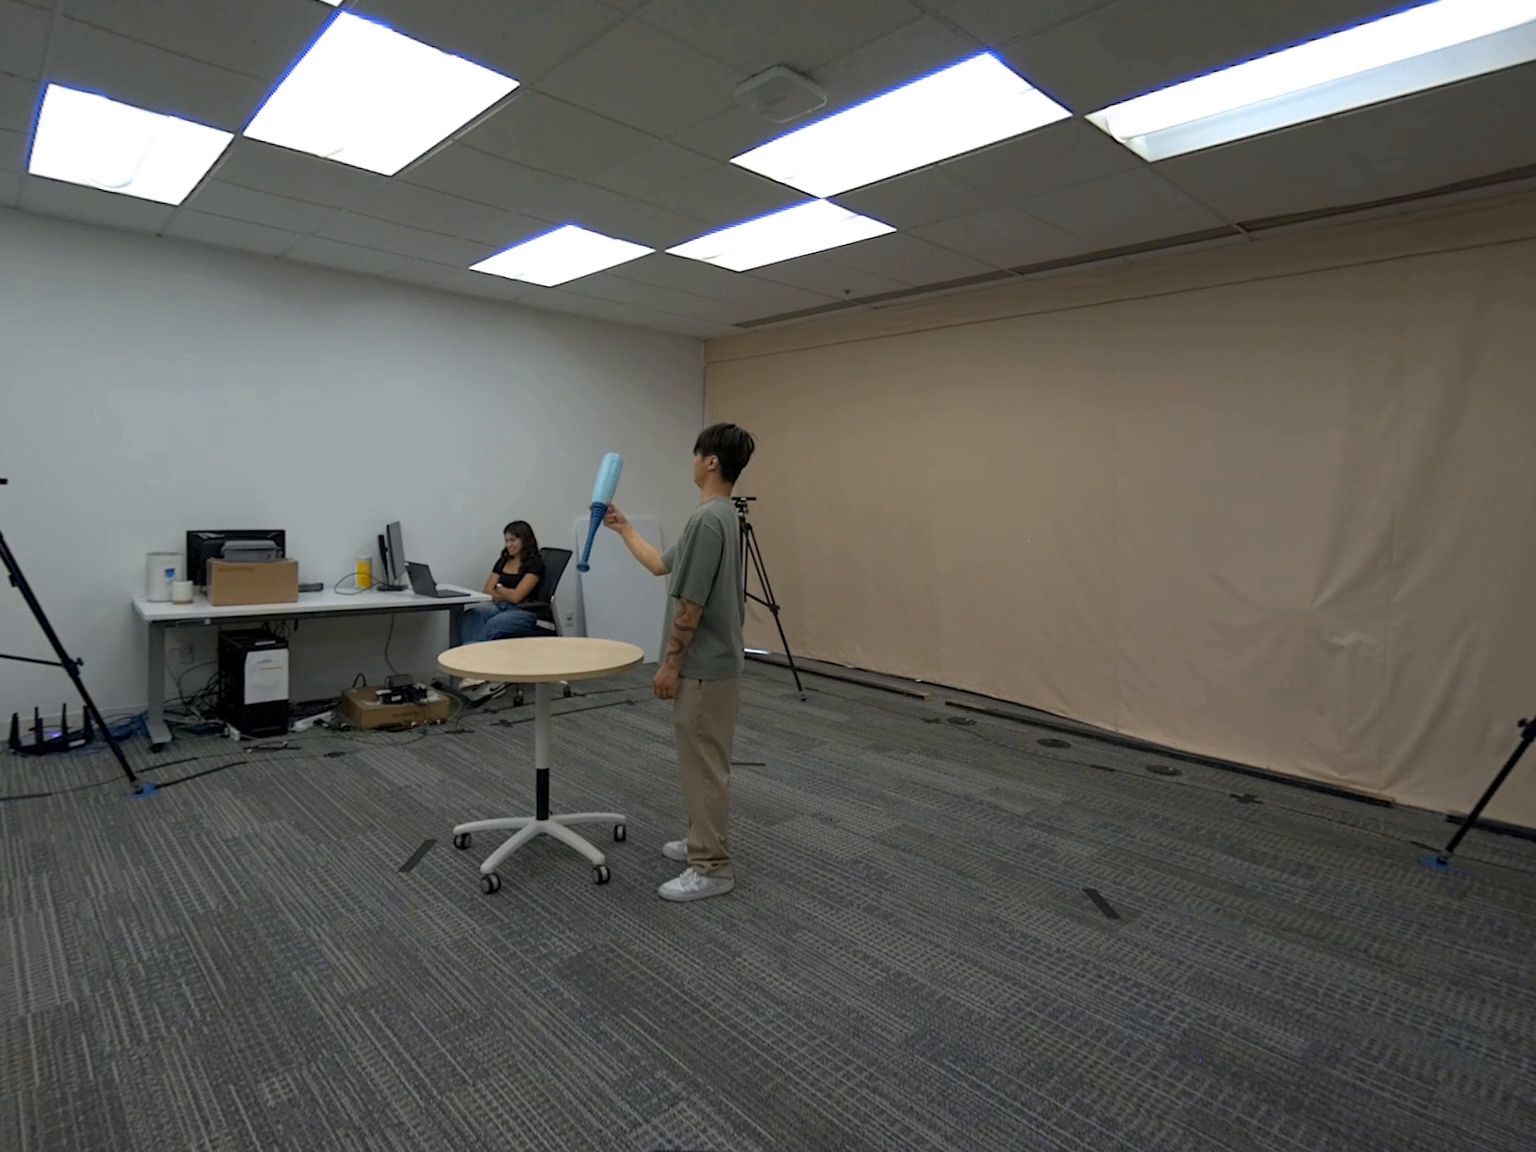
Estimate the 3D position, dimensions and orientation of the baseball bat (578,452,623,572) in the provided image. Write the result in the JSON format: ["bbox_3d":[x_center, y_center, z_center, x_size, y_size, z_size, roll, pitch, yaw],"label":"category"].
[{"bbox_3d":[-0.679,-0.259,3.350,0.089,0.552,0.087,7,-32,3],"label":"baseball bat"}]
